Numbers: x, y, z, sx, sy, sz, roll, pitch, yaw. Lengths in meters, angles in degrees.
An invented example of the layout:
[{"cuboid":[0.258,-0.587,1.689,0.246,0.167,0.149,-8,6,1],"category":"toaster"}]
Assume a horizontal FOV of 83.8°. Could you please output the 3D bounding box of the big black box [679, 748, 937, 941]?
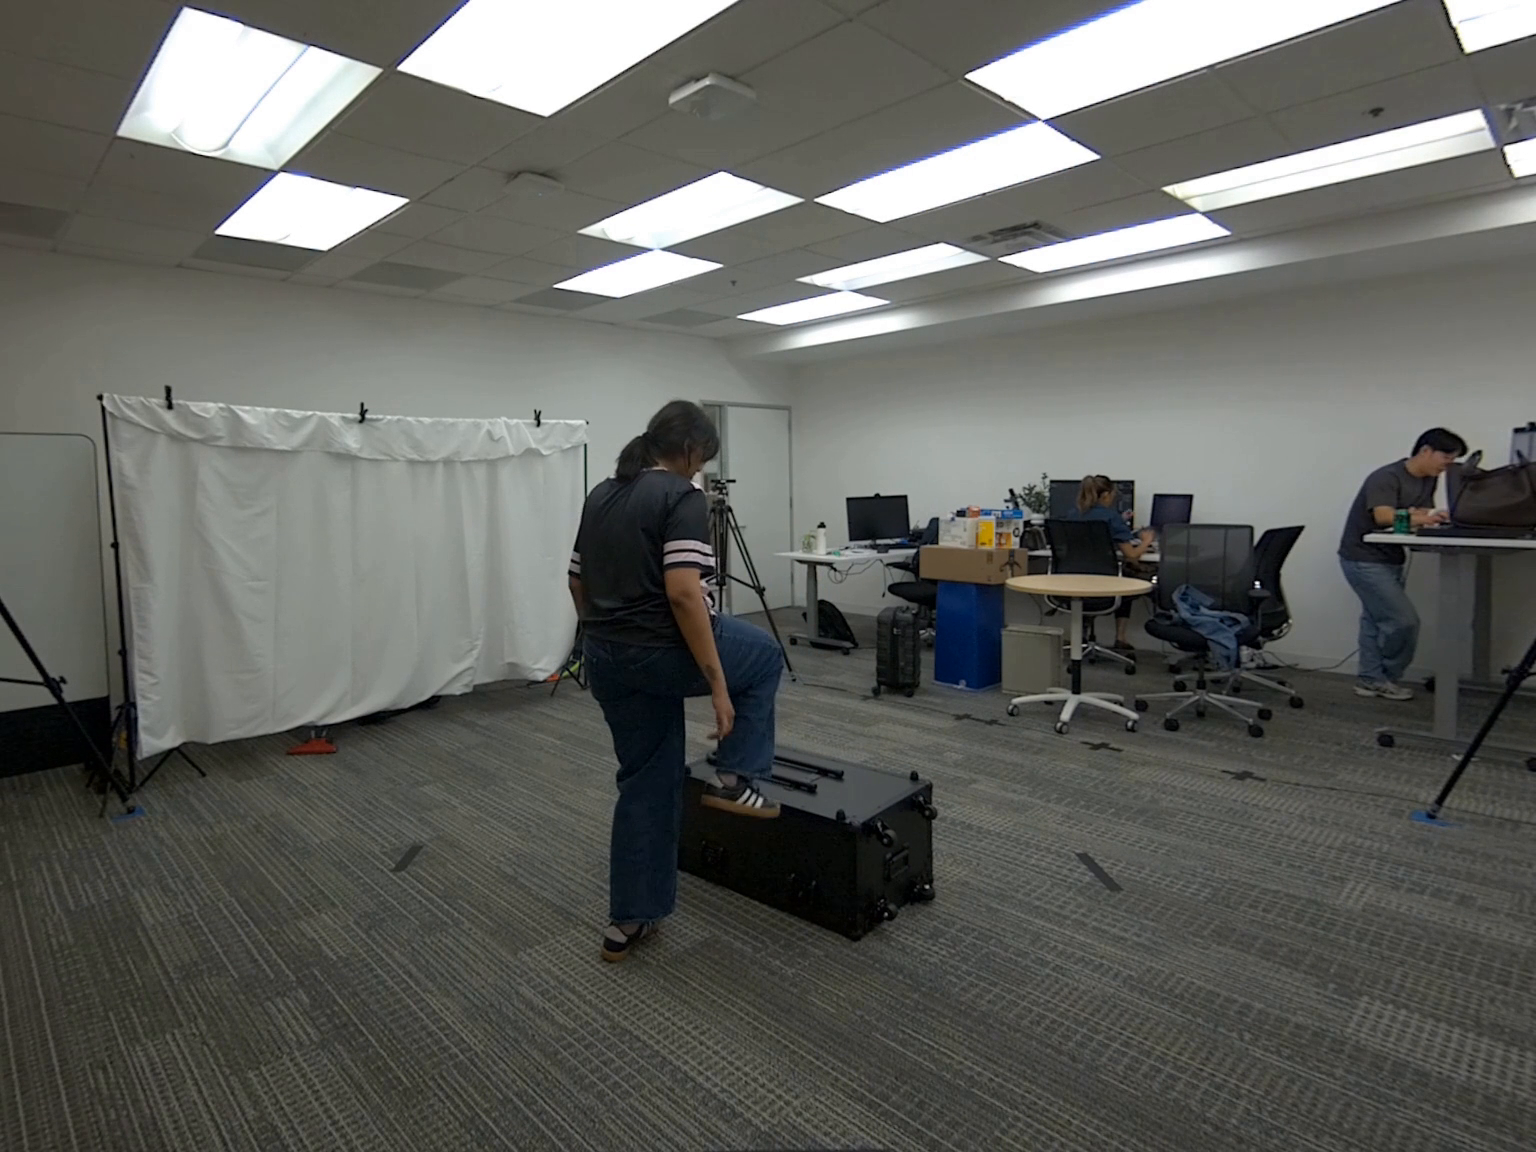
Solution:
[{"cuboid":[0.144,0.873,2.979,0.895,0.384,0.509,4,6,40],"category":"big black box"}]
